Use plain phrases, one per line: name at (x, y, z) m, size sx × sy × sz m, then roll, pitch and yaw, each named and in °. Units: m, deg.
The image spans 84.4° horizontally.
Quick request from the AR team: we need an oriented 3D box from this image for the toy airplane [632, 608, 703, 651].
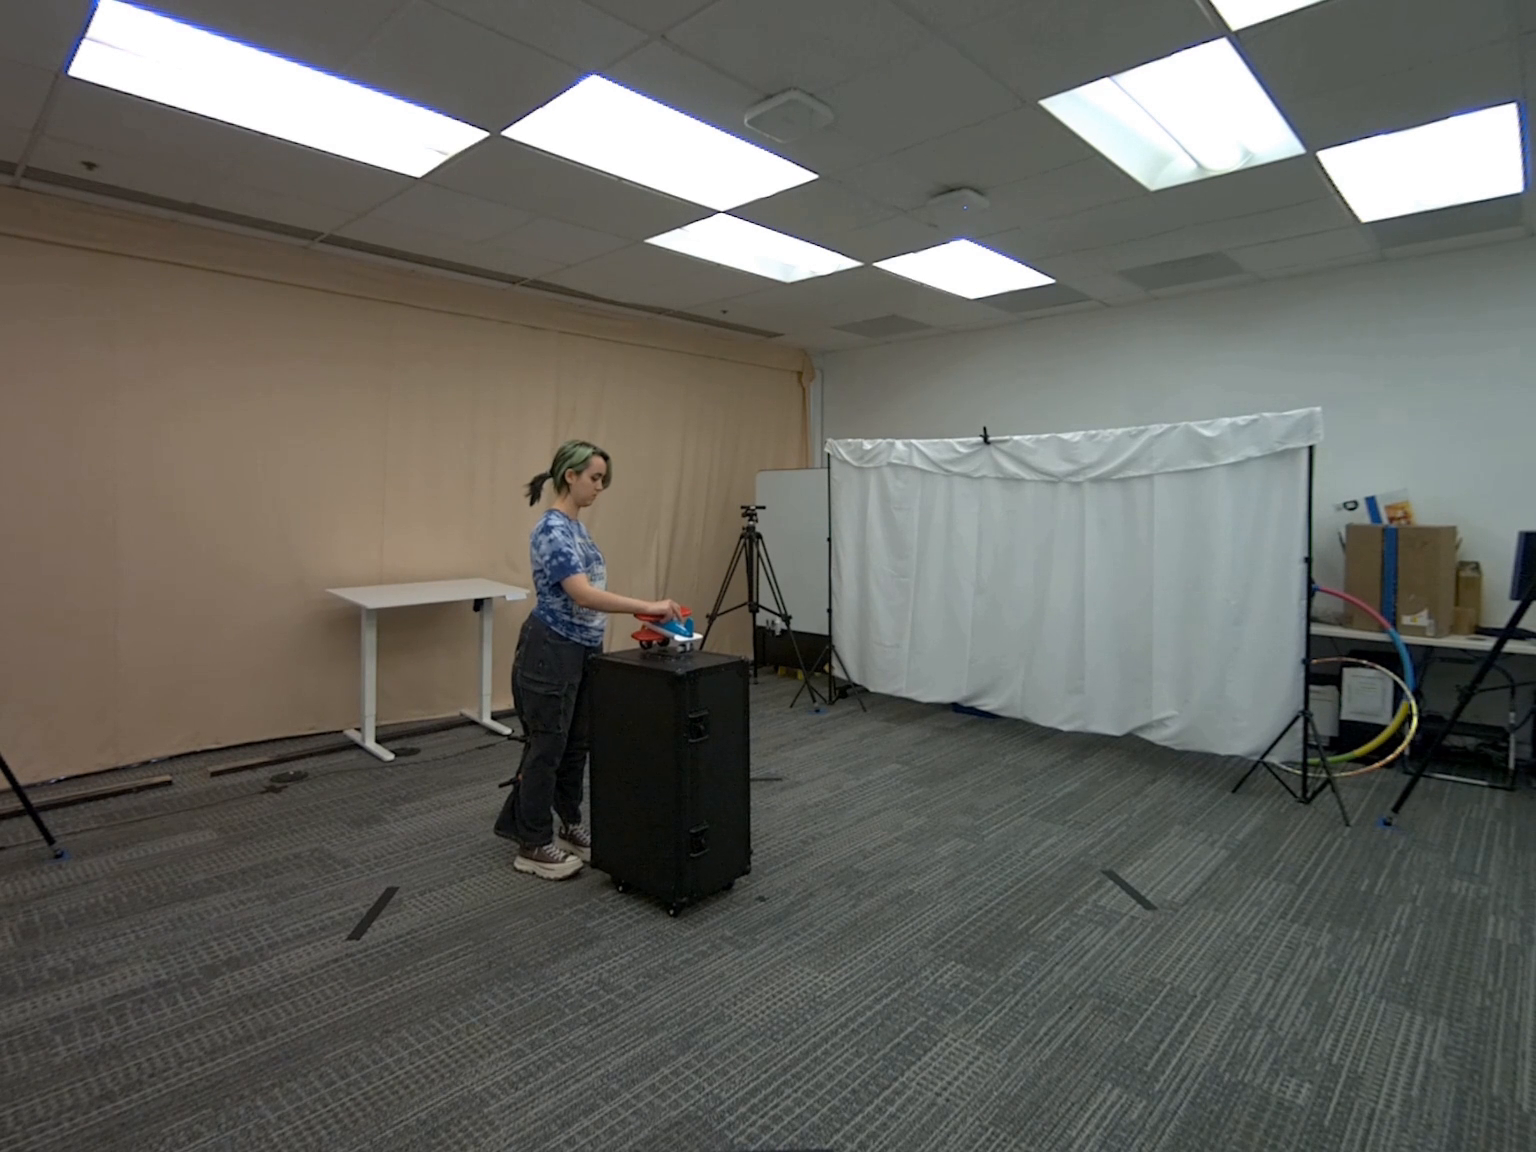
toy airplane at (-0.360, 0.195, 3.142) m, size 0.264 × 0.156 × 0.247 m, roll 0°, pitch 2°, yaw 17°
